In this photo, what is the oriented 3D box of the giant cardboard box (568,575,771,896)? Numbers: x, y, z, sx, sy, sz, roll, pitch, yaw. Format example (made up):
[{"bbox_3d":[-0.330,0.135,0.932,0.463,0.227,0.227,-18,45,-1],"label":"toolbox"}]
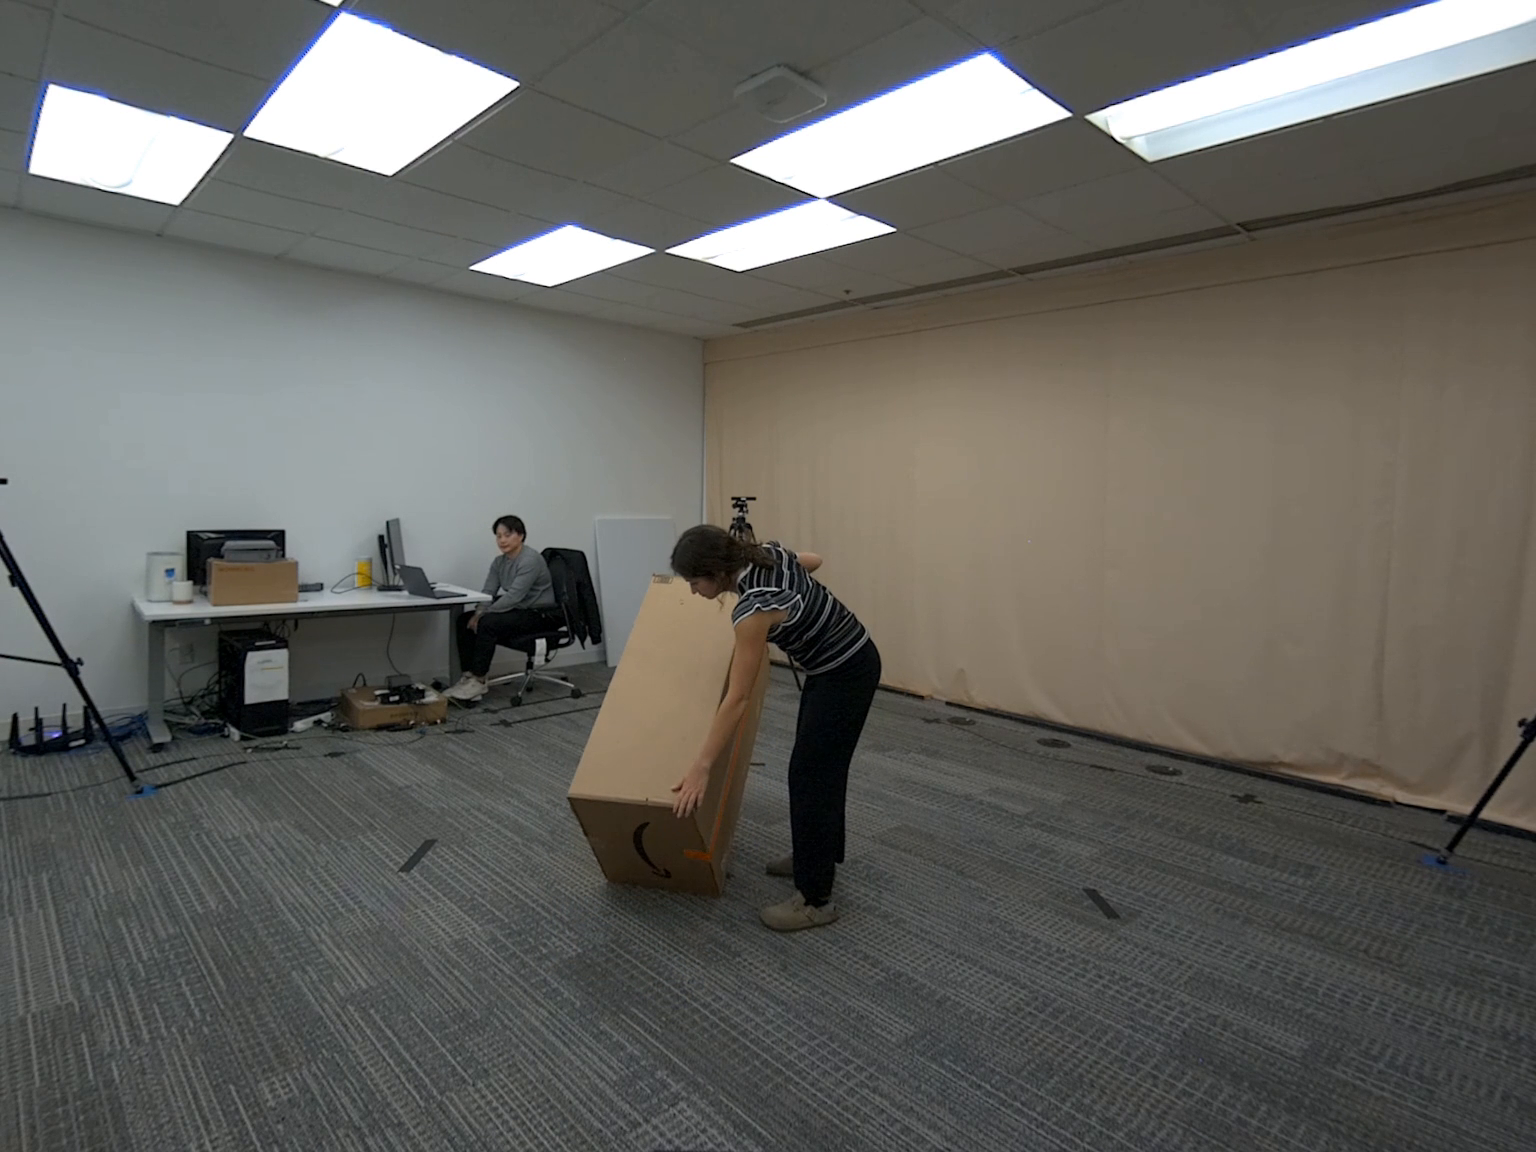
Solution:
[{"bbox_3d":[-0.321,0.560,3.164,0.431,0.563,1.041,2,43,12],"label":"giant cardboard box"}]
